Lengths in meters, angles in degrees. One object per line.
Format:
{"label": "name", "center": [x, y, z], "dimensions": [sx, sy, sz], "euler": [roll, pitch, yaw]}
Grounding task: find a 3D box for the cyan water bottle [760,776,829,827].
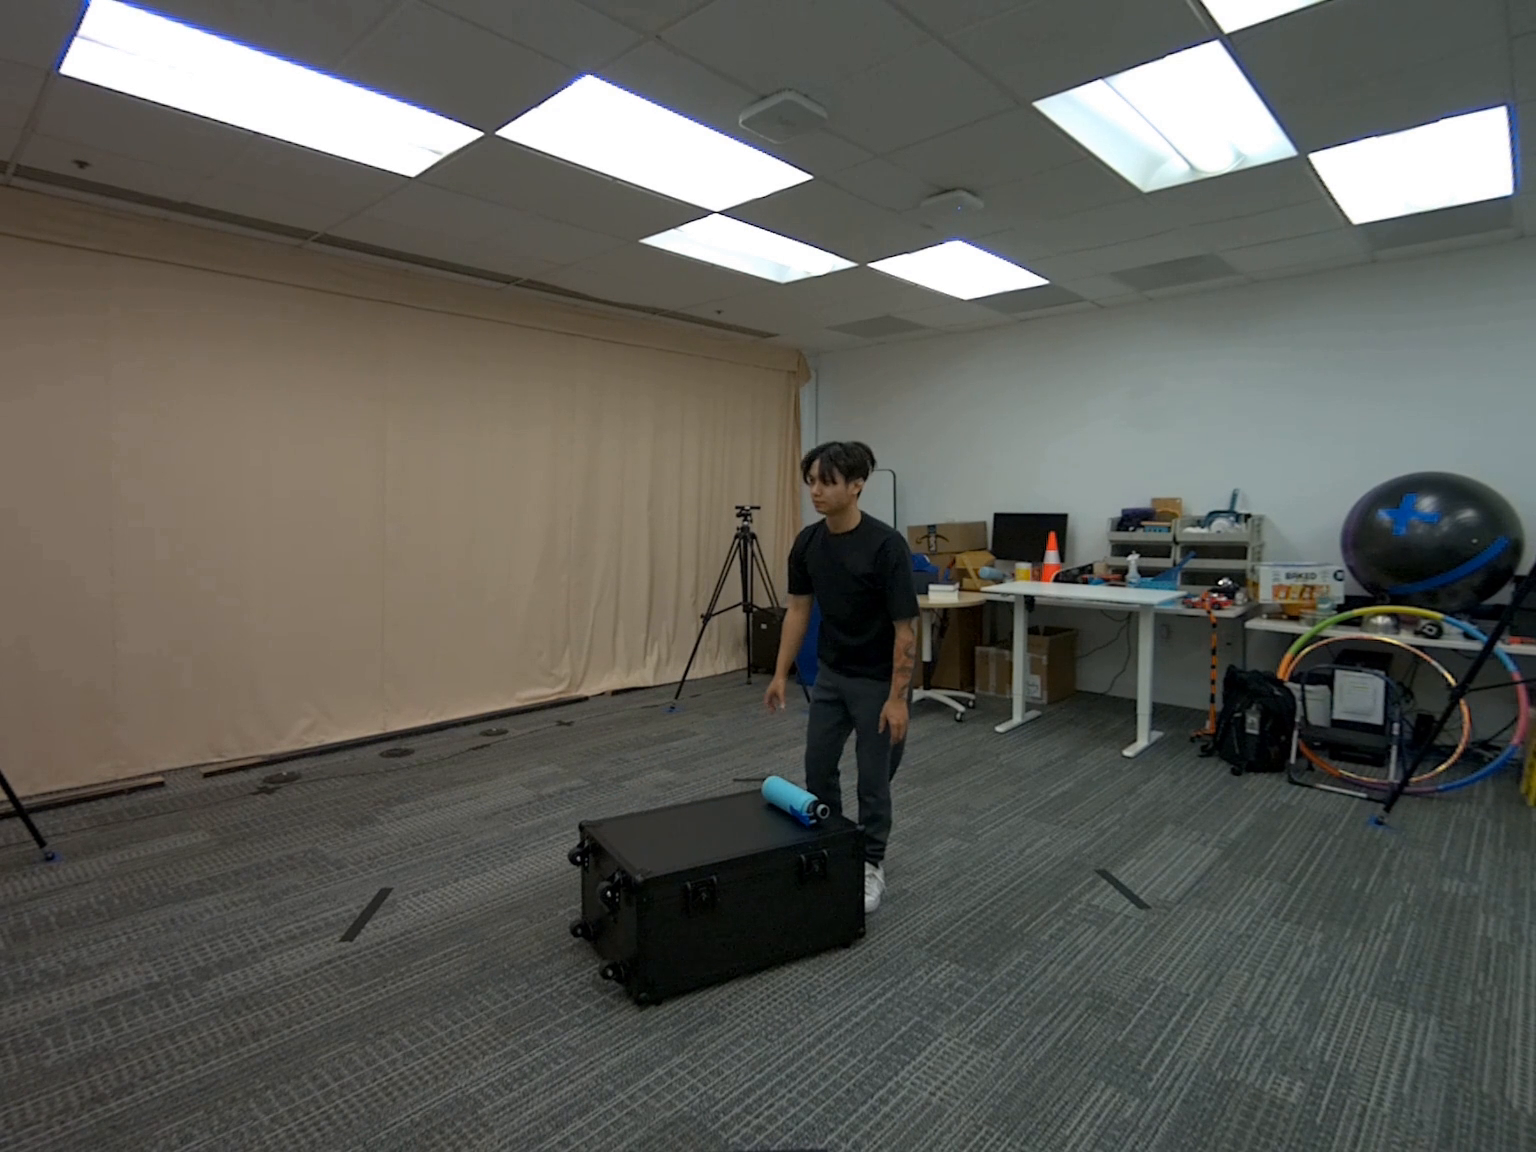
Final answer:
{"label": "cyan water bottle", "center": [0.089, 0.741, 2.771], "dimensions": [0.090, 0.092, 0.292], "euler": [-2, 6, -30]}
